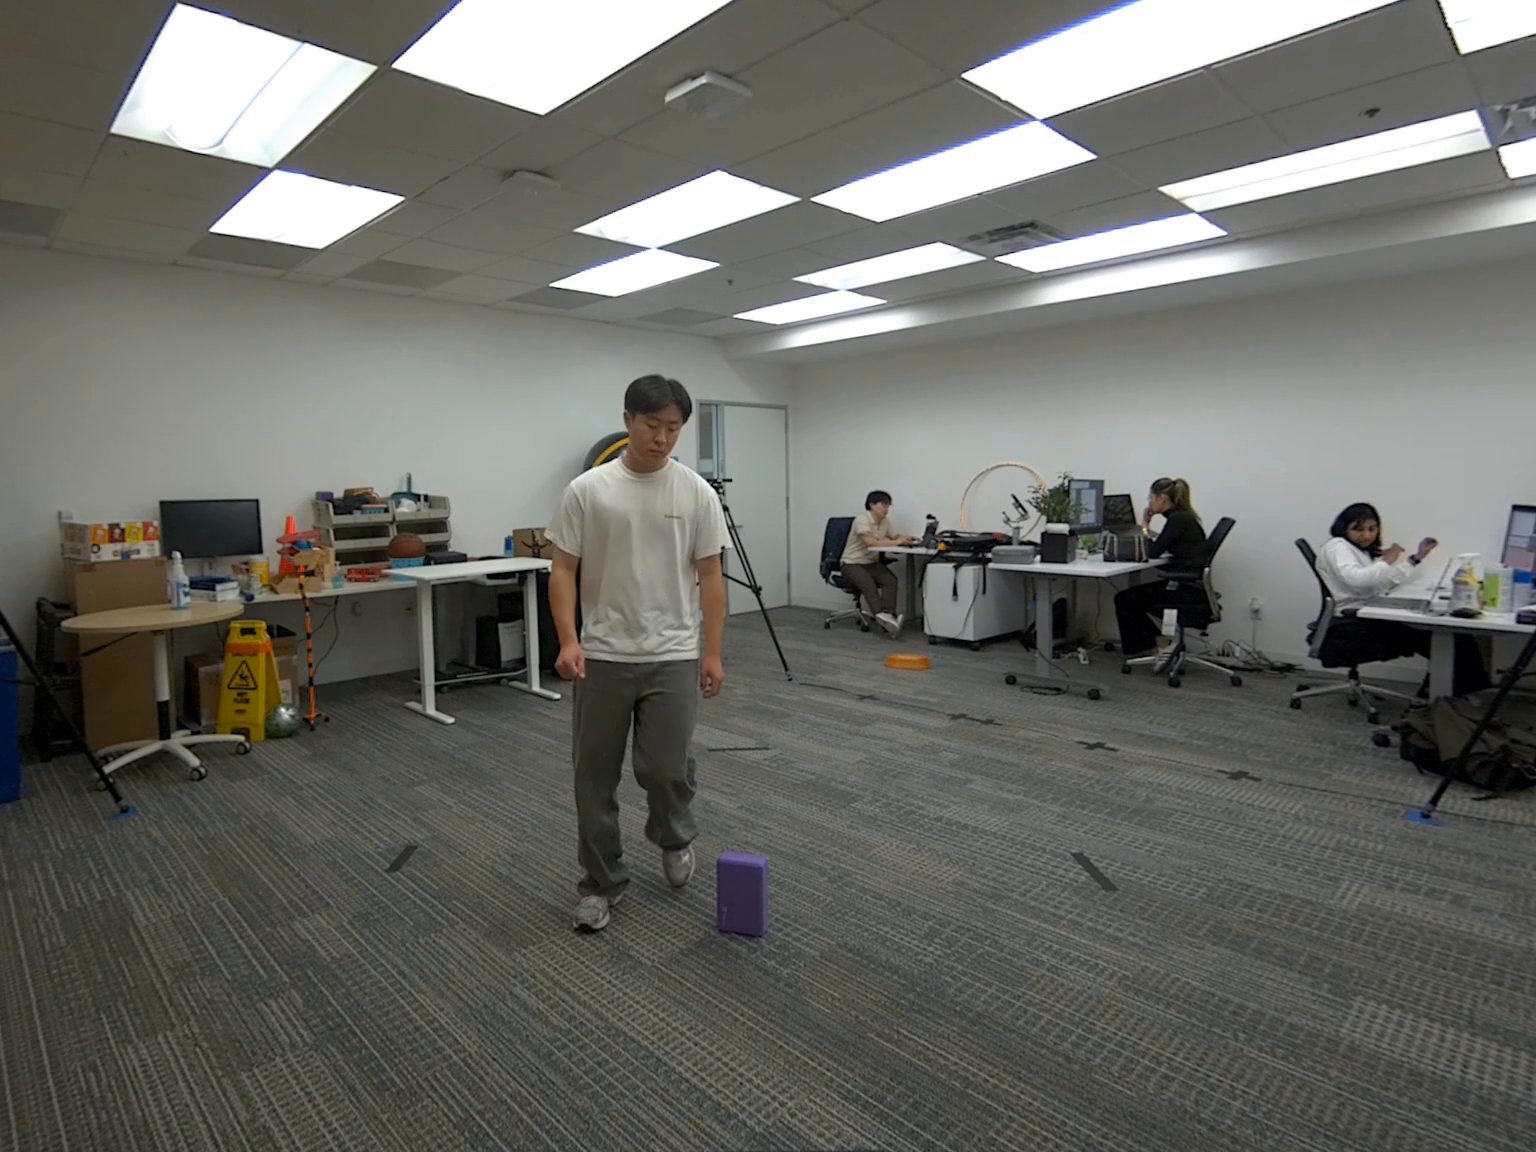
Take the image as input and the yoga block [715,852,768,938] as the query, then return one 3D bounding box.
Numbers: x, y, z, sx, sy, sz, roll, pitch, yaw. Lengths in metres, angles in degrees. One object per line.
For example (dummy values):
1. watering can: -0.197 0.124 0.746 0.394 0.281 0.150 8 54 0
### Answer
1. yoga block: -0.078 0.977 2.643 0.151 0.228 0.075 2 5 18
